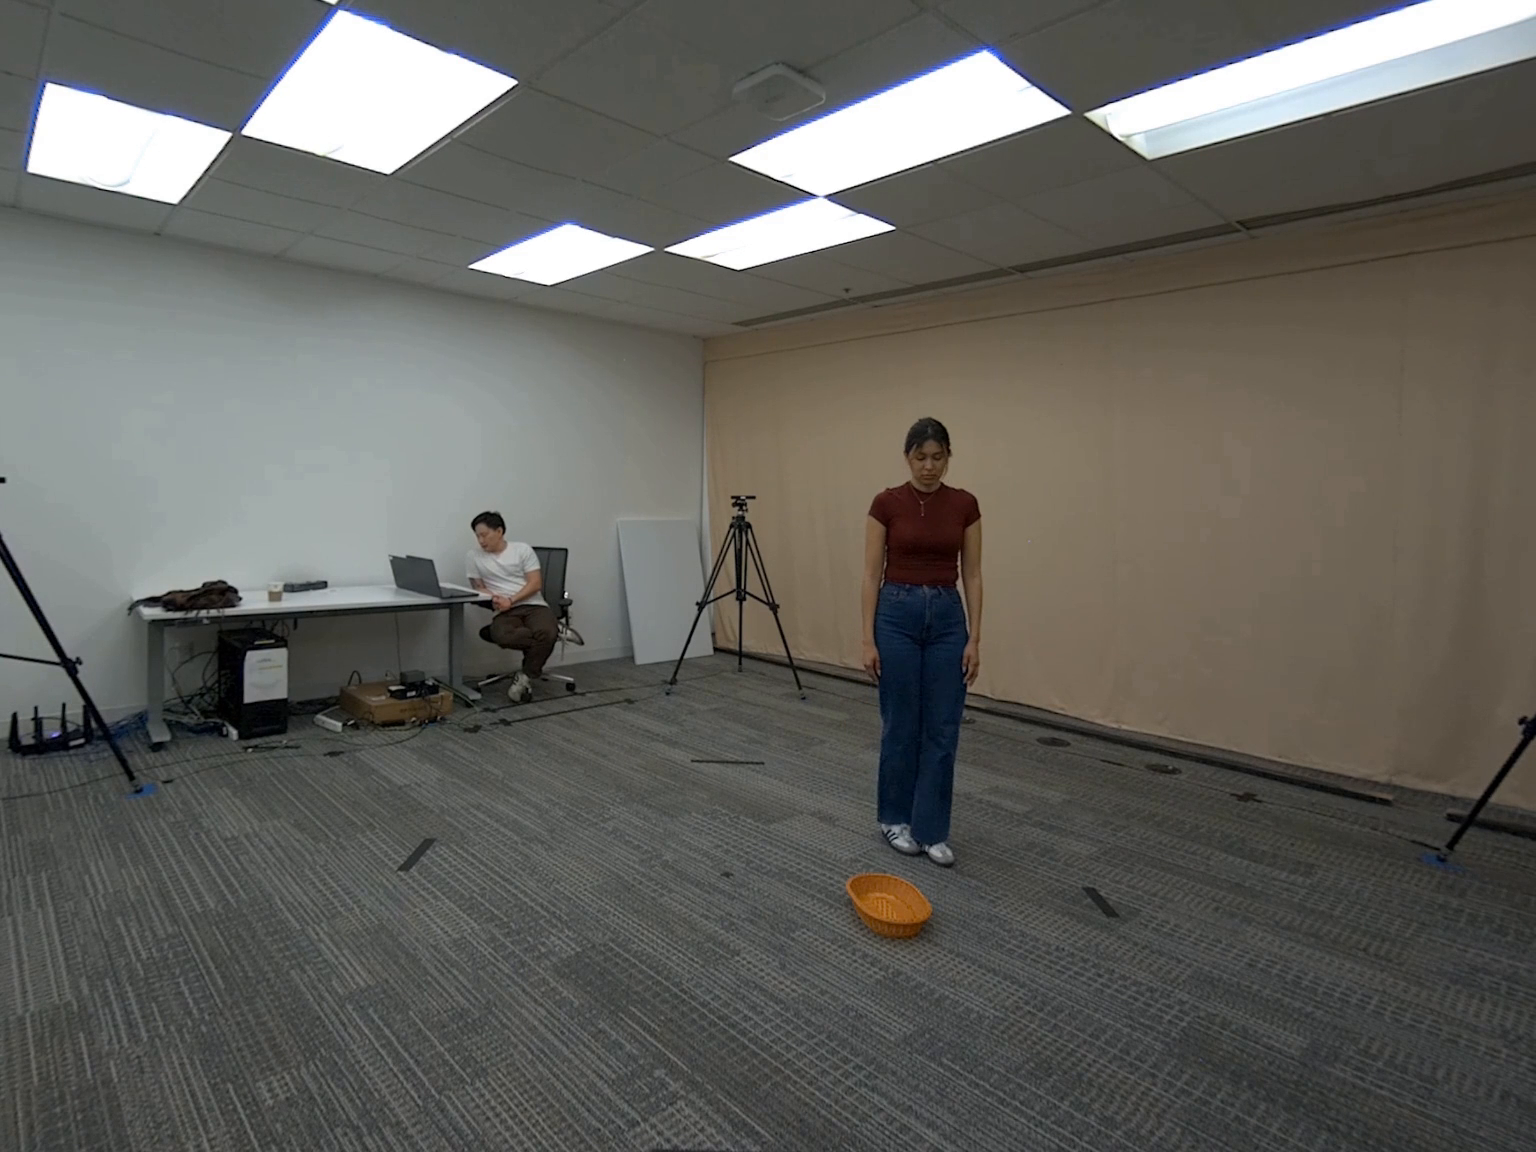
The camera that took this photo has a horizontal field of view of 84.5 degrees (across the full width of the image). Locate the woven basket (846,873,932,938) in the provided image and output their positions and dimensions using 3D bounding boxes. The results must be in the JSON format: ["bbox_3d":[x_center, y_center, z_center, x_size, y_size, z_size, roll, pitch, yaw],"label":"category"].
[{"bbox_3d":[0.393,1.103,2.813,0.250,0.073,0.354,2,5,-11],"label":"woven basket"}]
